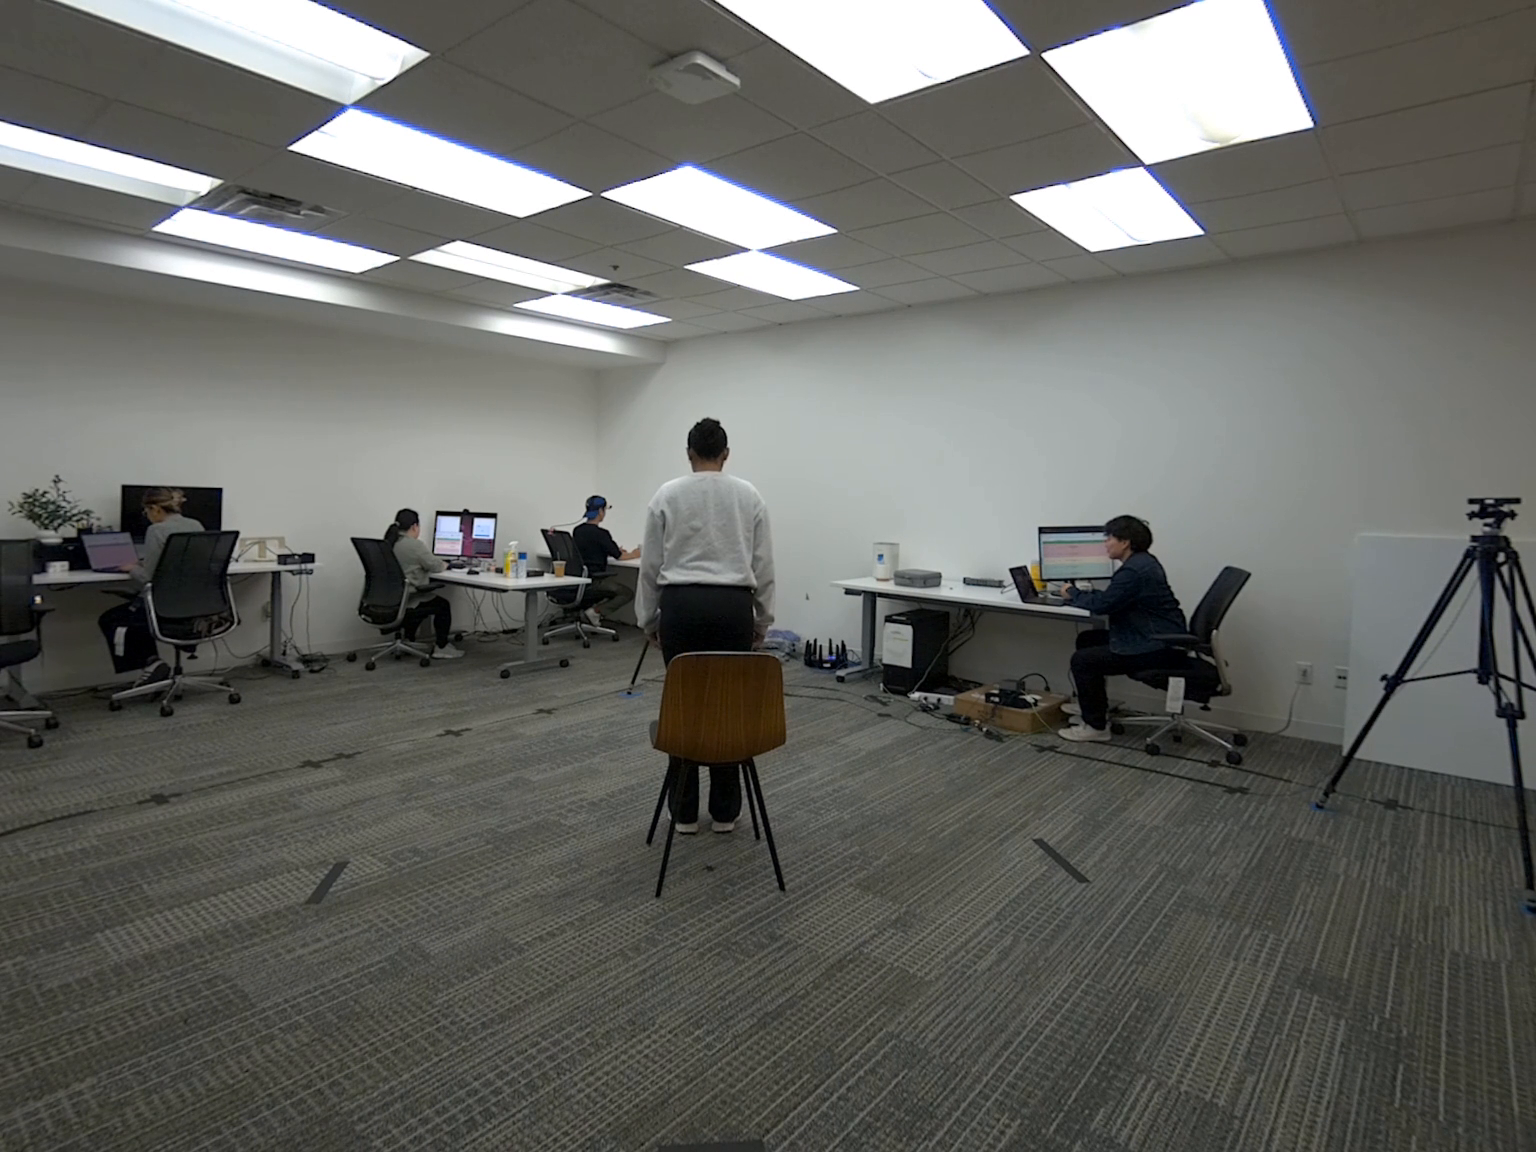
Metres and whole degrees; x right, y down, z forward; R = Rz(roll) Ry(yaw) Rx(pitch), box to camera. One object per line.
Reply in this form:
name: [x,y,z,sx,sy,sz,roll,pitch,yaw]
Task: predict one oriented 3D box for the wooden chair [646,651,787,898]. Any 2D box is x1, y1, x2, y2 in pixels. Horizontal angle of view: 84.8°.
wooden chair: [-0.209,0.634,3.107,0.473,0.871,0.533,0,7,-11]
